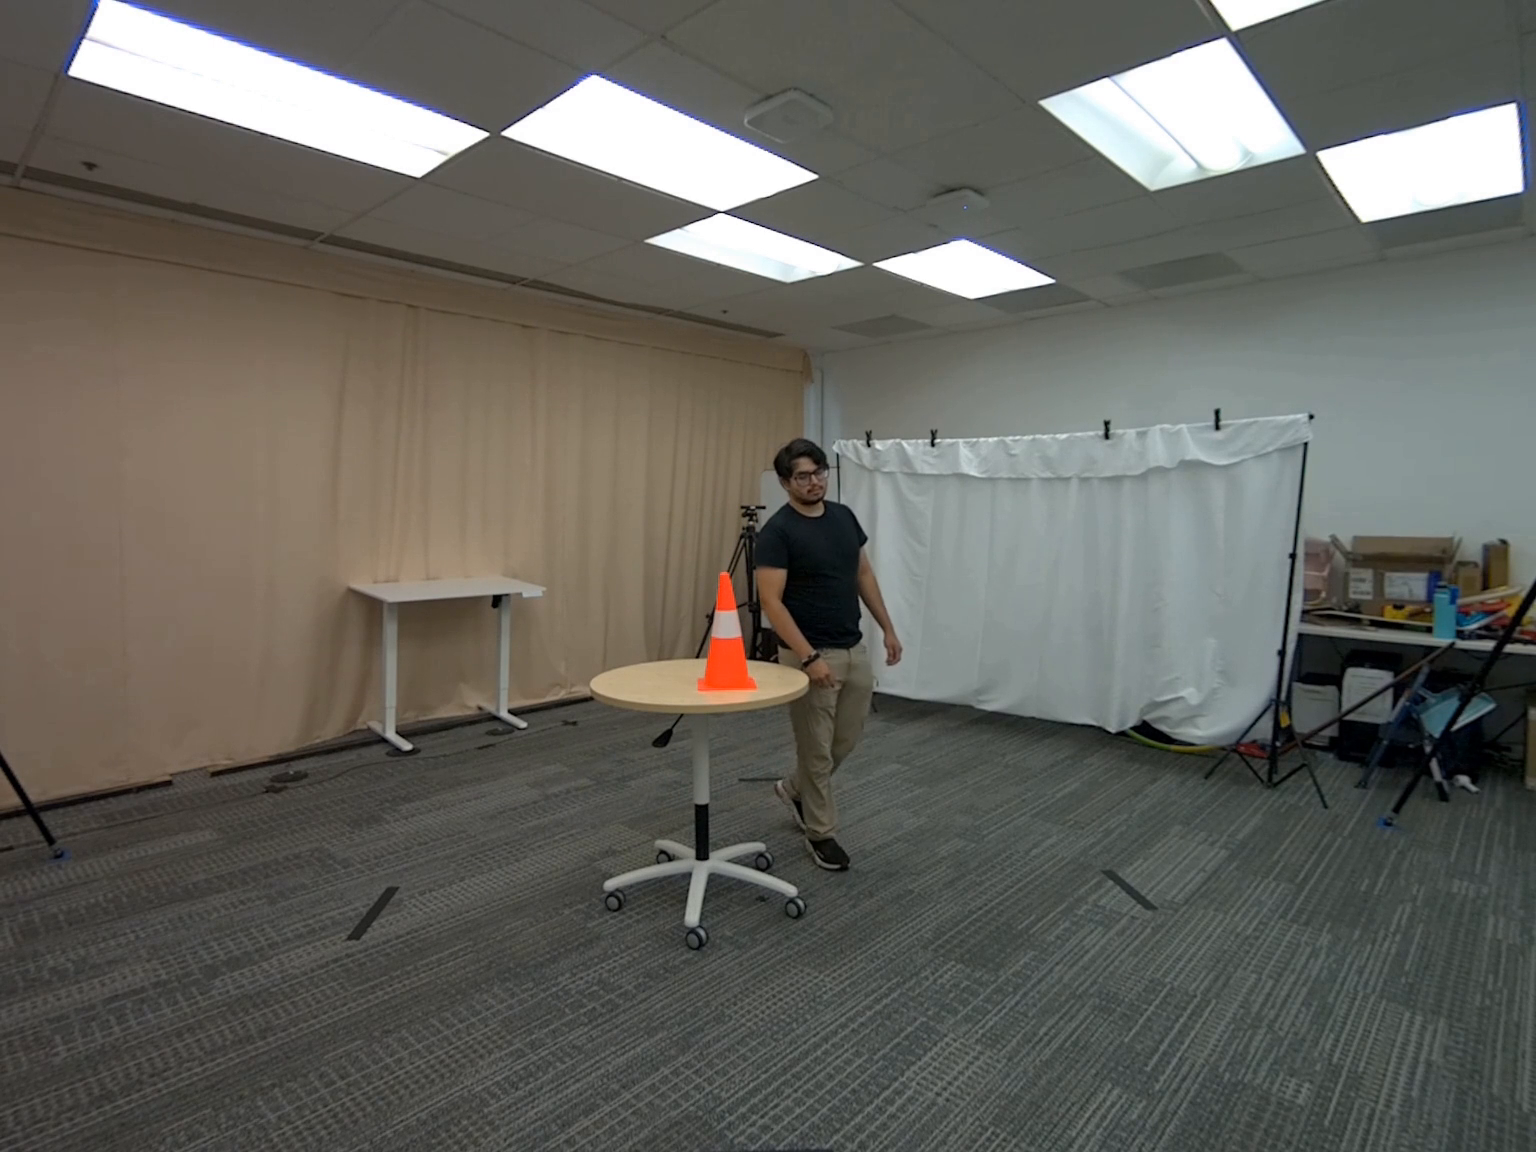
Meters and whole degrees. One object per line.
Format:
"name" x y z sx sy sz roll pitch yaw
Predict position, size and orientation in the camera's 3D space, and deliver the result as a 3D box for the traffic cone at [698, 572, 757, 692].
"traffic cone" -0.143 0.184 2.858 0.204 0.383 0.204 -1 3 -4
